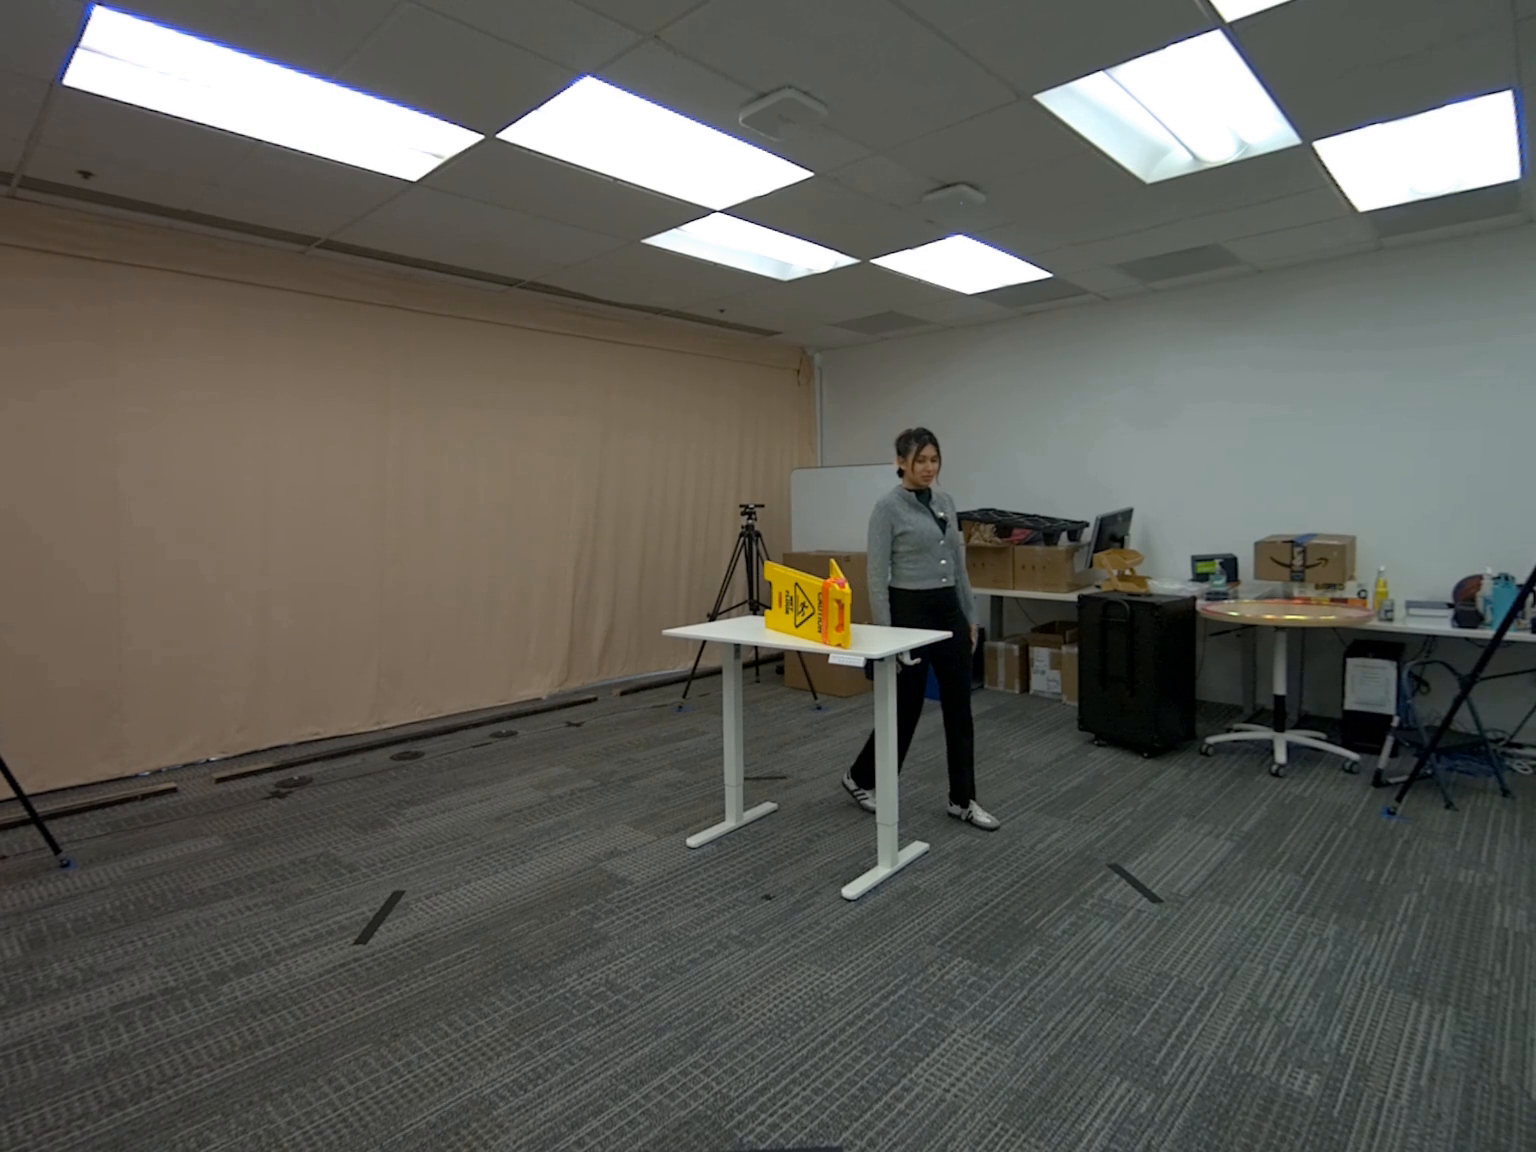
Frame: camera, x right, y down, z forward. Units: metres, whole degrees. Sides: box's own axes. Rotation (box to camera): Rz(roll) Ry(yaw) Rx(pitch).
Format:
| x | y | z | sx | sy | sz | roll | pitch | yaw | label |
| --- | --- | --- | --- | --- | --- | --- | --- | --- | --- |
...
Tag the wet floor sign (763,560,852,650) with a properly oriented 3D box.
| x | y | z | sx | sy | sz | roll | pitch | yaw | label |
| --- | --- | --- | --- | --- | --- | --- | --- | --- | --- |
| 0.210 | 0.111 | 3.213 | 0.286 | 0.281 | 0.657 | -2 | 7 | -13 | wet floor sign |
